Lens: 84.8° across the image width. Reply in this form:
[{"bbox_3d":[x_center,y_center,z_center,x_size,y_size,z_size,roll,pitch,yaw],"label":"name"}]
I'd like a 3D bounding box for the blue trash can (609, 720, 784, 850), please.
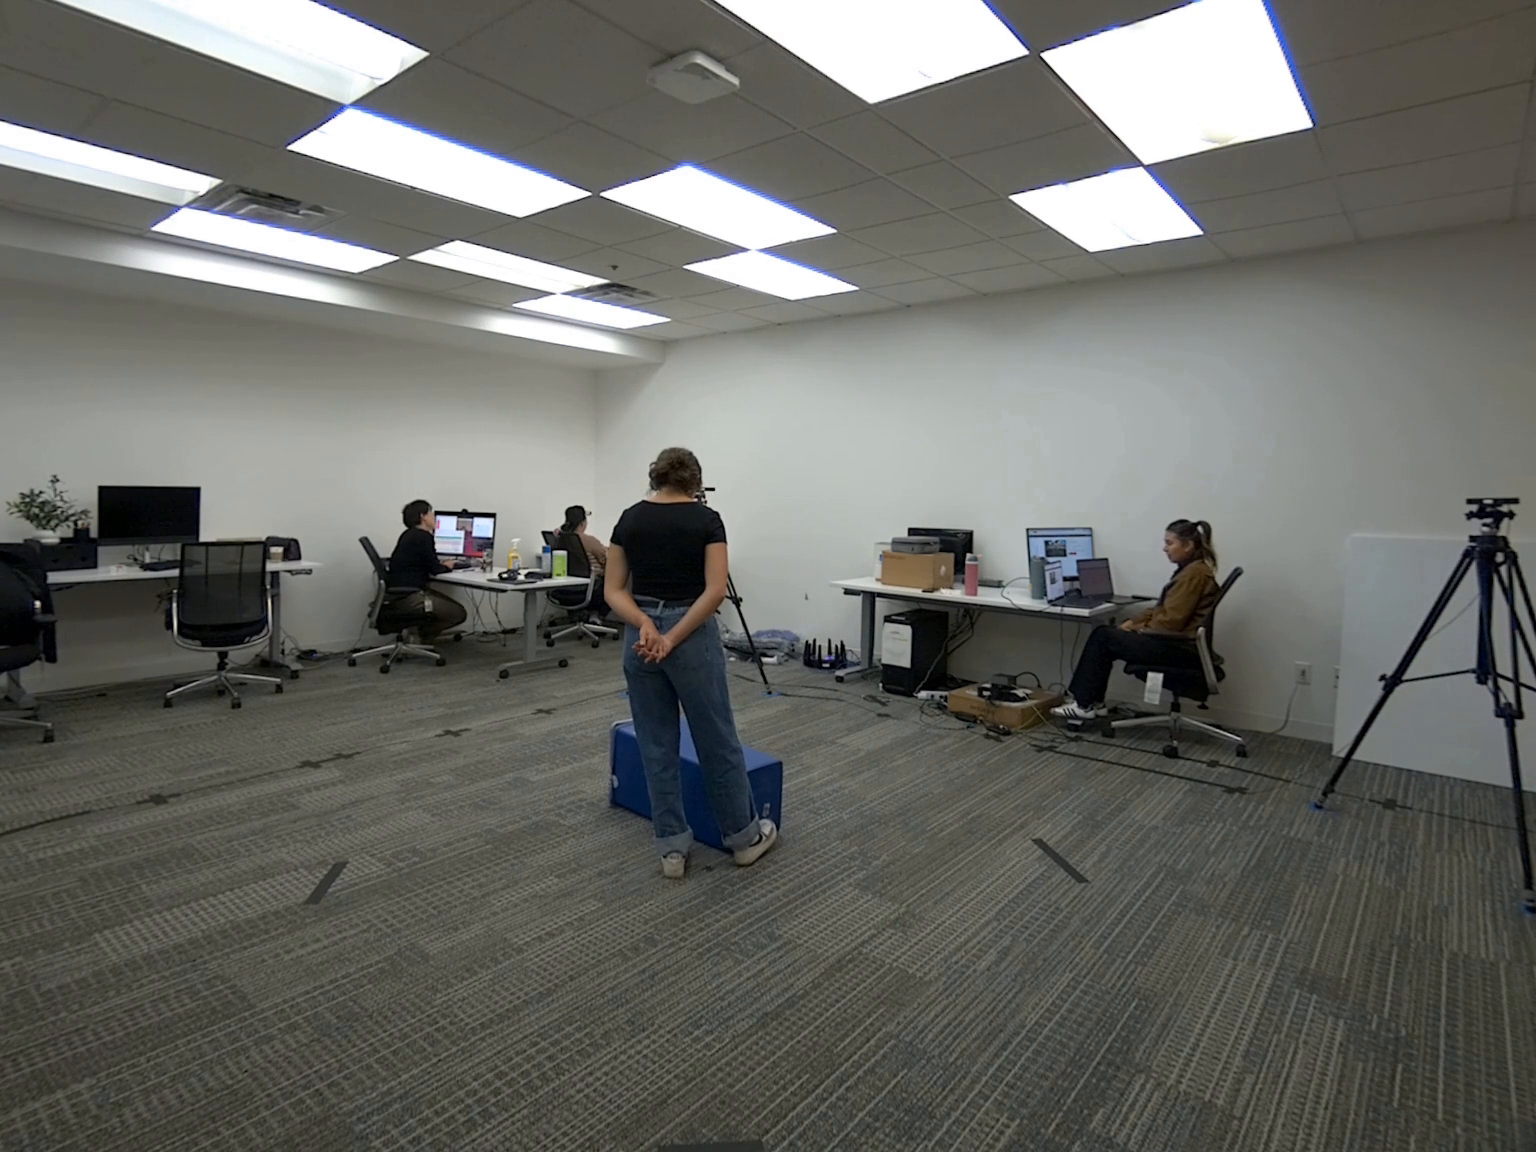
[{"bbox_3d":[-0.317,0.853,3.573,0.739,0.376,0.363,9,9,42],"label":"blue trash can"}]
